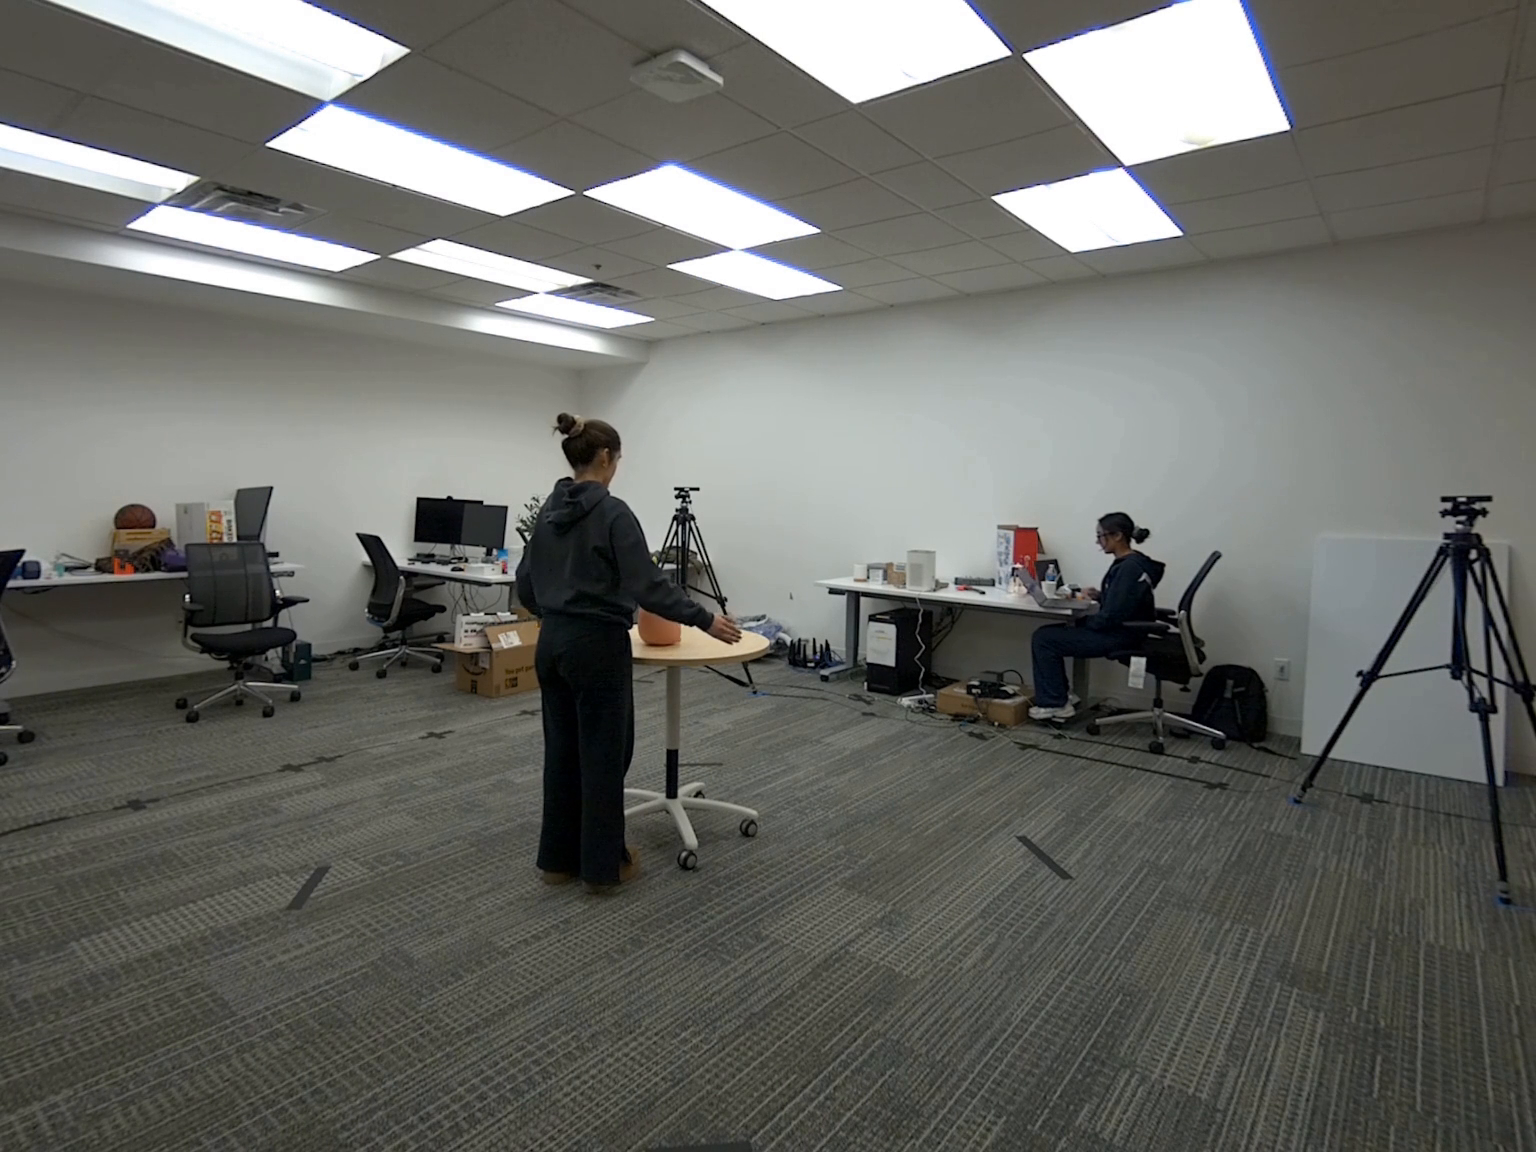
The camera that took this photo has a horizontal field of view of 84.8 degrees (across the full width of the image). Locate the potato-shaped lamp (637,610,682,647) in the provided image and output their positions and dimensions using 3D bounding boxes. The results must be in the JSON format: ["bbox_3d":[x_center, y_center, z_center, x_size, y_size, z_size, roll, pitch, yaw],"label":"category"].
[{"bbox_3d":[-0.422,0.167,3.306,0.170,0.197,0.166,4,4,38],"label":"potato-shaped lamp"}]
